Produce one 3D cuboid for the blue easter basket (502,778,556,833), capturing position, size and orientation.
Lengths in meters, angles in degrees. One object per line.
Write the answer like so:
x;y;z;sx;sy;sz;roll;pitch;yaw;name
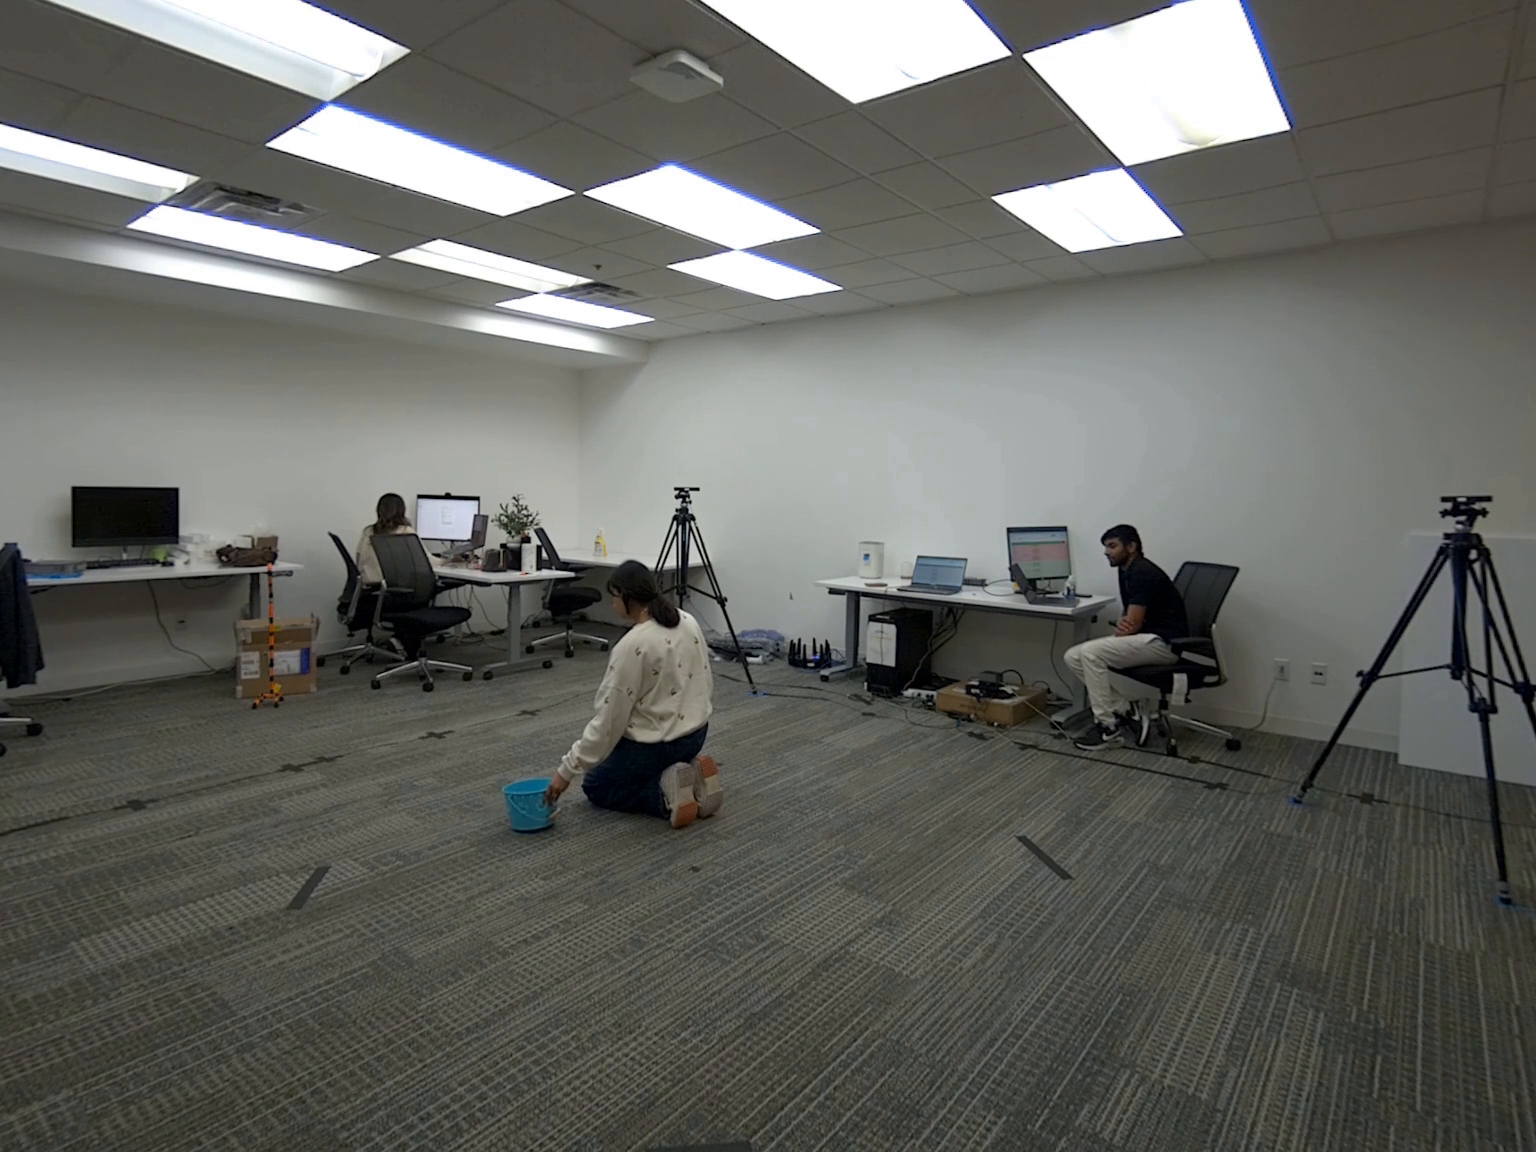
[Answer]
-0.983;0.931;3.493;0.243;0.156;0.244;-4;1;-2;blue easter basket
